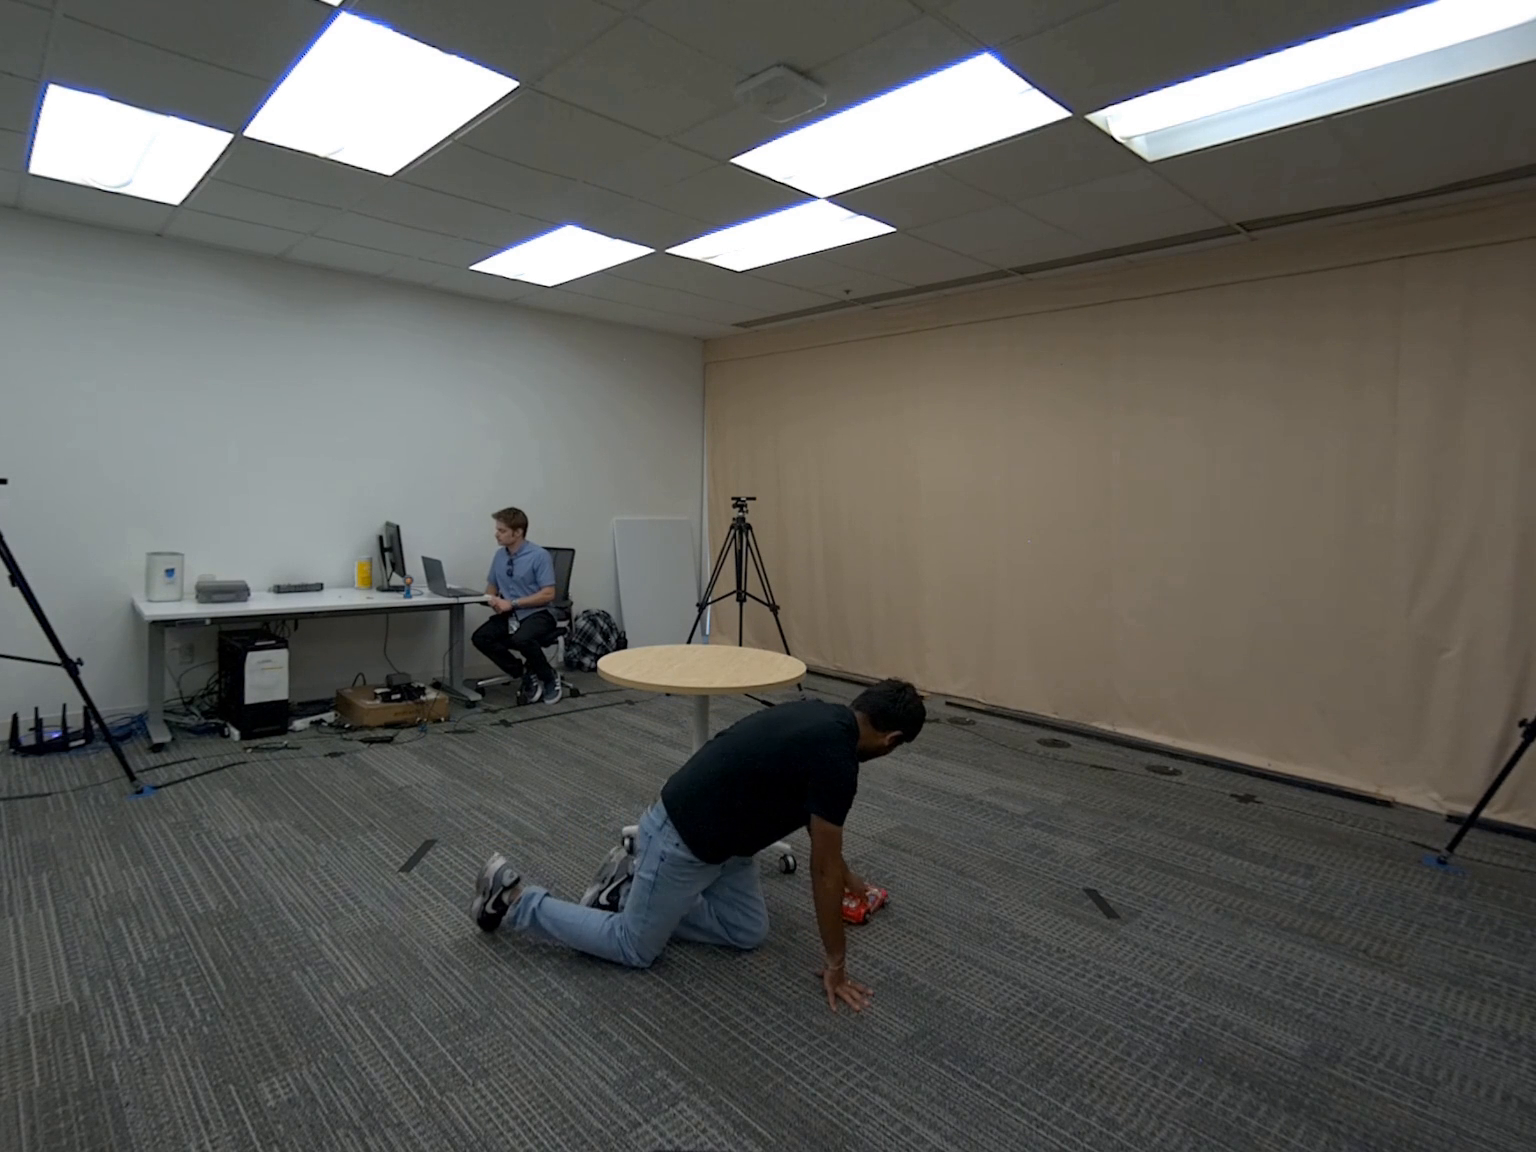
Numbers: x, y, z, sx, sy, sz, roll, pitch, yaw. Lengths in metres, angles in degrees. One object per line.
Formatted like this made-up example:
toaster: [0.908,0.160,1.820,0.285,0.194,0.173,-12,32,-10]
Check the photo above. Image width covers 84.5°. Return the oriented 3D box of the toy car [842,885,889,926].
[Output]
toy car: [0.307,1.104,2.846,0.133,0.083,0.248,8,-2,35]
